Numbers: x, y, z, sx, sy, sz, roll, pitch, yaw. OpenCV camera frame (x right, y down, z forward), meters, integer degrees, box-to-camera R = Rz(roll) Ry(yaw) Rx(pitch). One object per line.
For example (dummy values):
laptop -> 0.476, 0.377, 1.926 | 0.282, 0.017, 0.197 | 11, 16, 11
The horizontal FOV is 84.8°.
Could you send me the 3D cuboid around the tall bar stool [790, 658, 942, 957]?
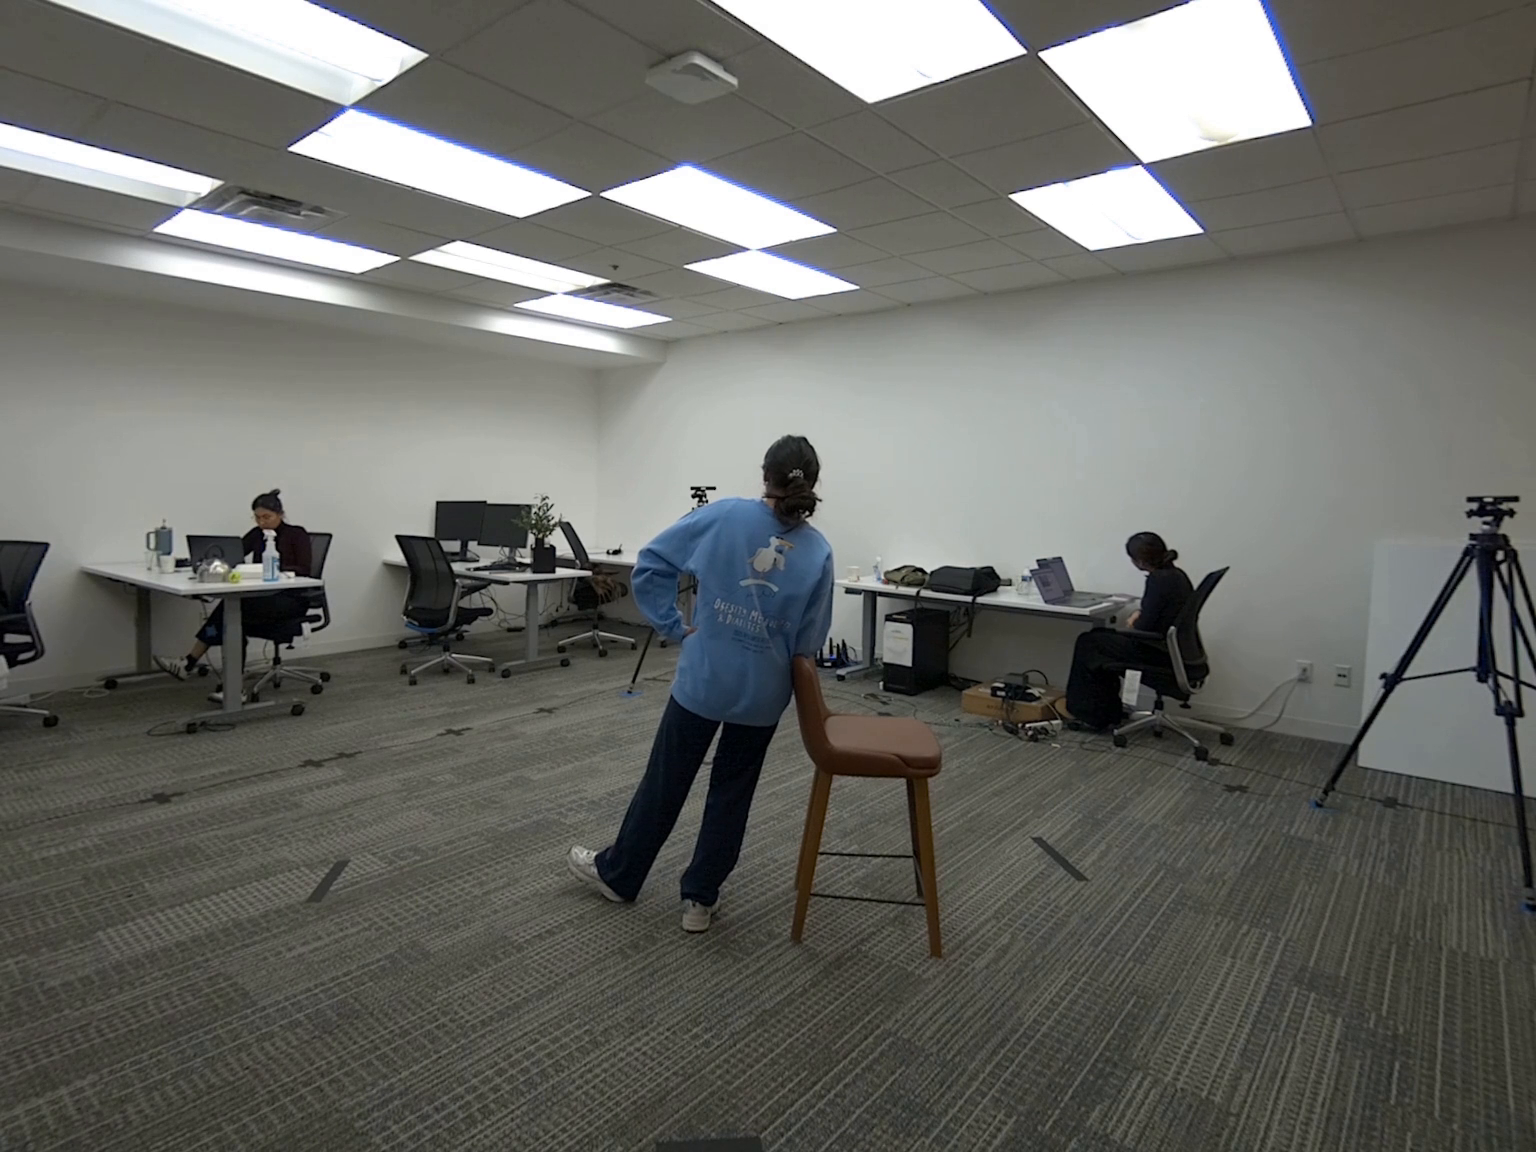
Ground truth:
tall bar stool -> 0.306, 0.676, 2.746 | 0.471, 0.887, 0.454 | 0, 3, 6
